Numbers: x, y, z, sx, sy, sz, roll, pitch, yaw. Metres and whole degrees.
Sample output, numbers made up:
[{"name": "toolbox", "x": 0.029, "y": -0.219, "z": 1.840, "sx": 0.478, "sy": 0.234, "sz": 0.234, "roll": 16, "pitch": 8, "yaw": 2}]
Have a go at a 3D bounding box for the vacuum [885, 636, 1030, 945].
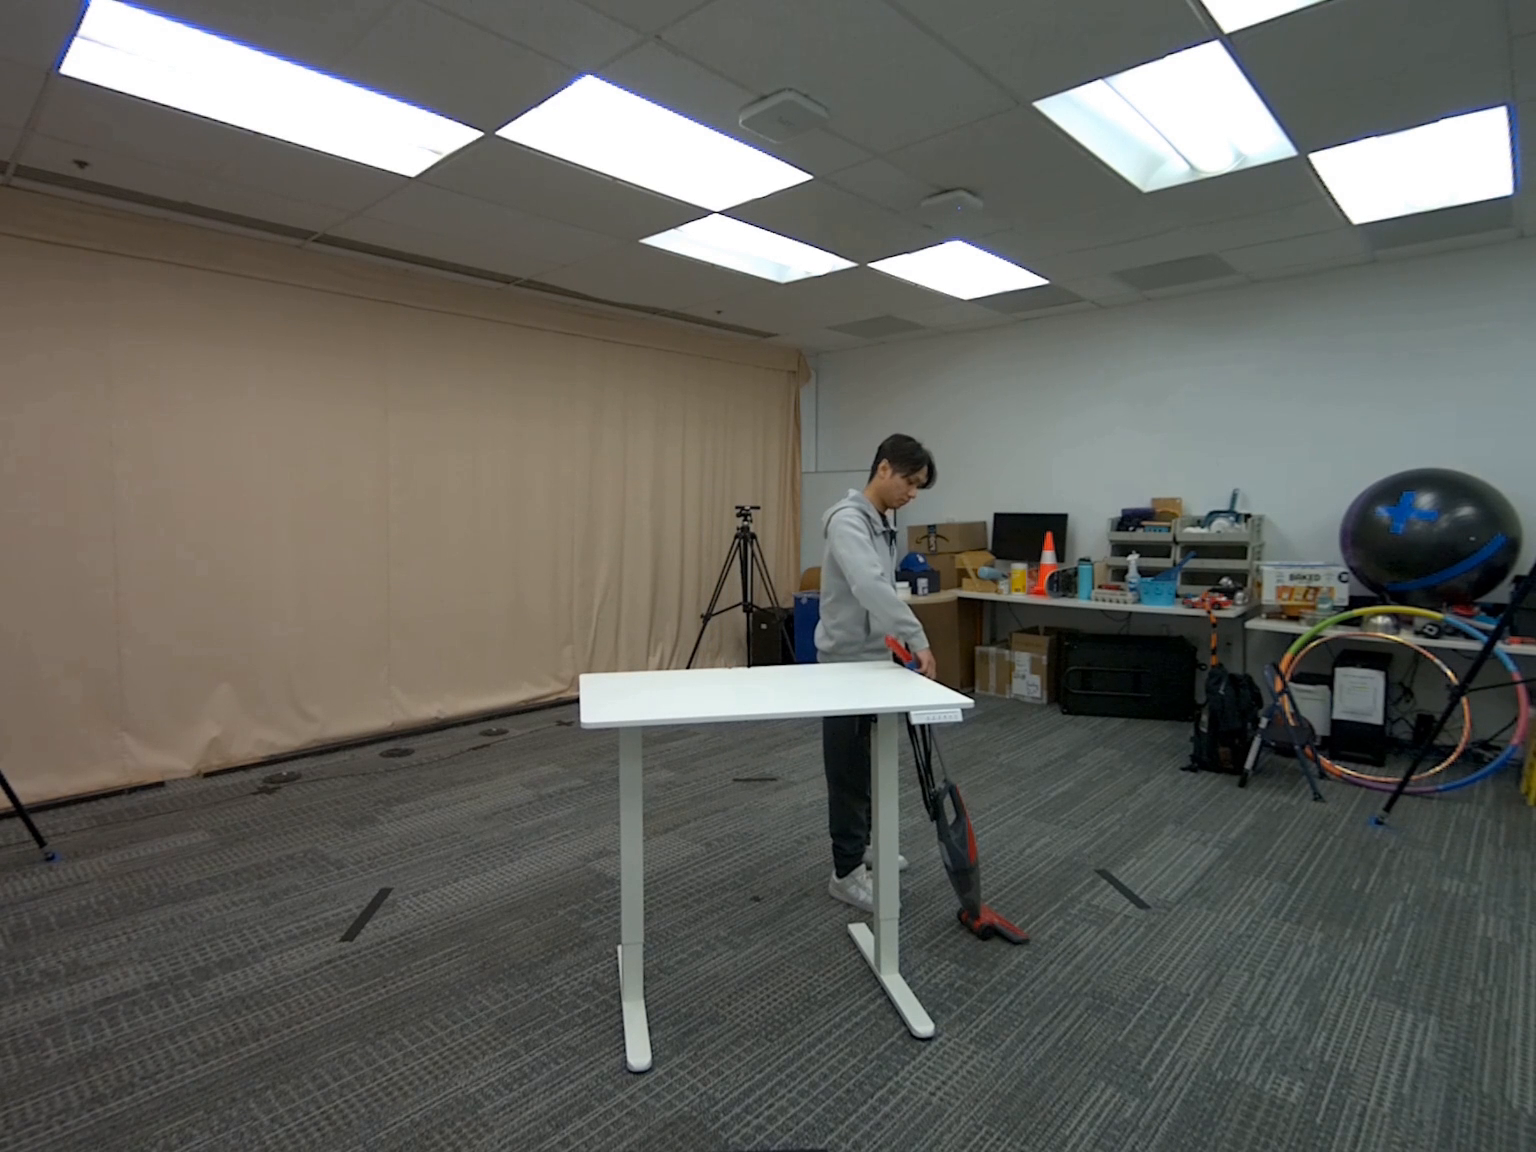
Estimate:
[{"name": "vacuum", "x": 0.561, "y": 0.685, "z": 2.674, "sx": 0.142, "sy": 1.038, "sz": 0.259, "roll": -25, "pitch": 12, "yaw": -24}]
